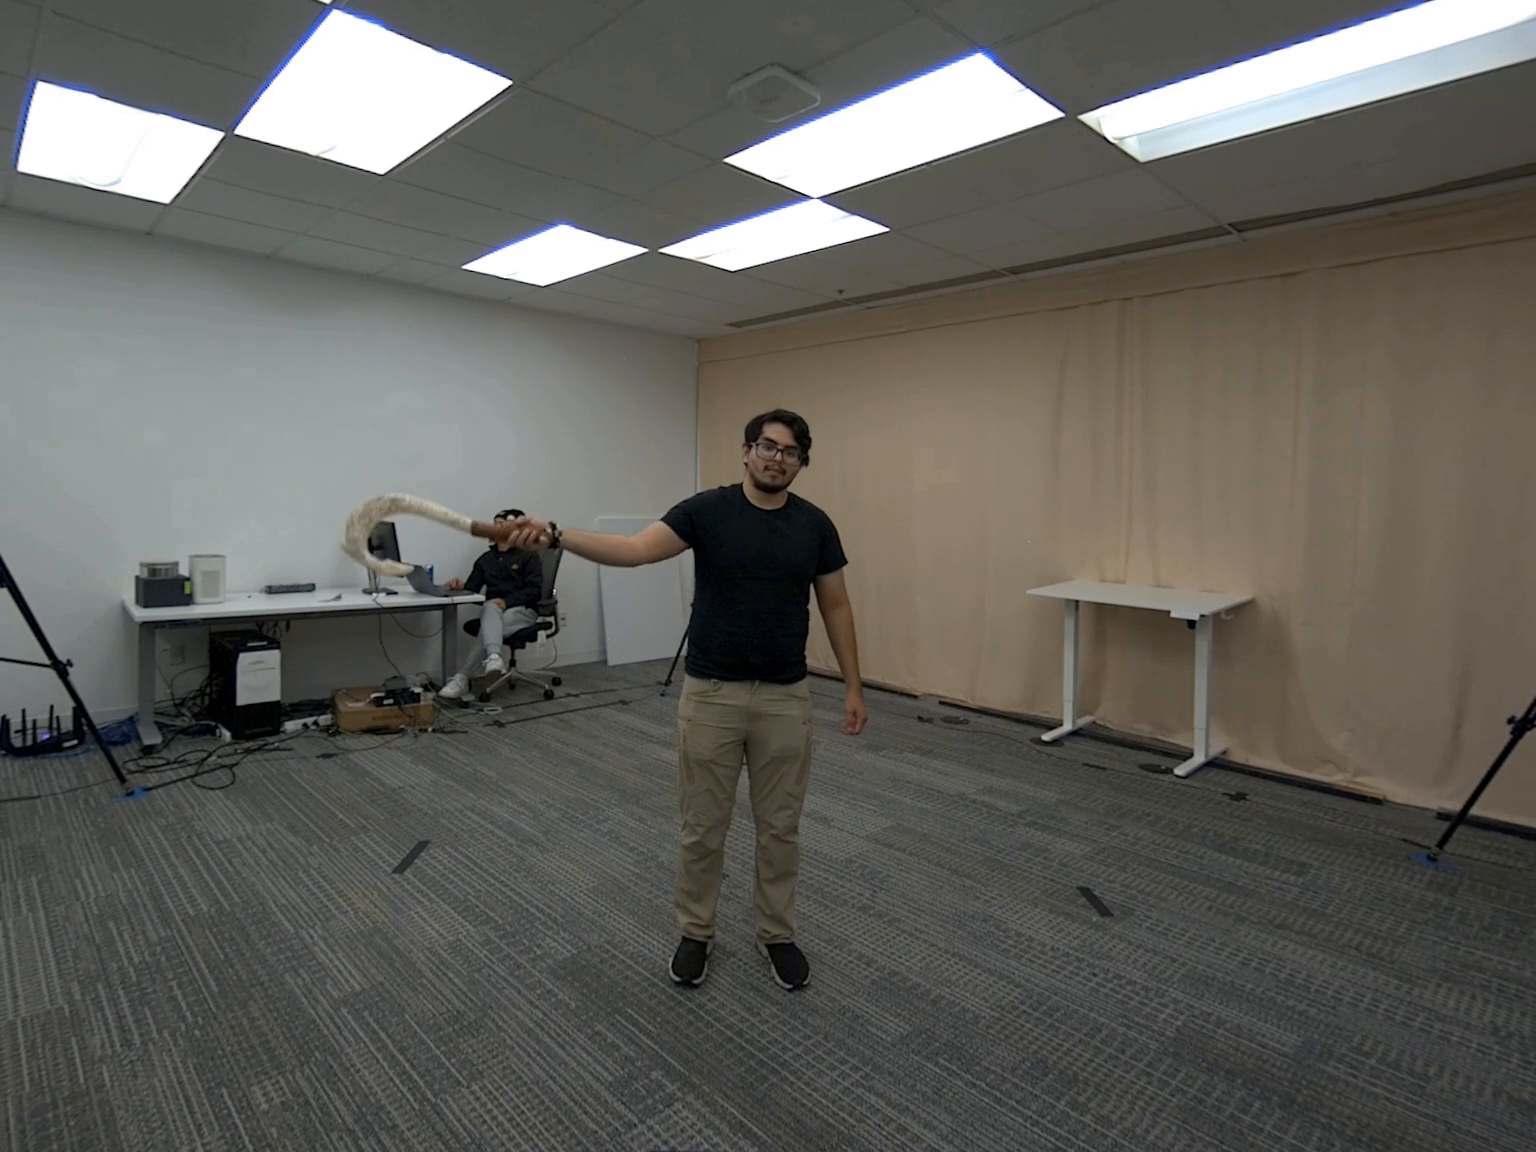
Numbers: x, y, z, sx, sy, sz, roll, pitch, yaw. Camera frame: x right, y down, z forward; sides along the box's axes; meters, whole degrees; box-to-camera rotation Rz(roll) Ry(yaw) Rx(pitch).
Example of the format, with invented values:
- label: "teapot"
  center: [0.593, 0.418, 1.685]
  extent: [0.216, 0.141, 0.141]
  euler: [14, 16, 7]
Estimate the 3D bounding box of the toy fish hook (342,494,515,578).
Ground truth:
- label: "toy fish hook"
  center: [-0.791, -0.074, 2.101]
  extent: [0.505, 0.227, 0.048]
  euler: [6, -21, -3]
